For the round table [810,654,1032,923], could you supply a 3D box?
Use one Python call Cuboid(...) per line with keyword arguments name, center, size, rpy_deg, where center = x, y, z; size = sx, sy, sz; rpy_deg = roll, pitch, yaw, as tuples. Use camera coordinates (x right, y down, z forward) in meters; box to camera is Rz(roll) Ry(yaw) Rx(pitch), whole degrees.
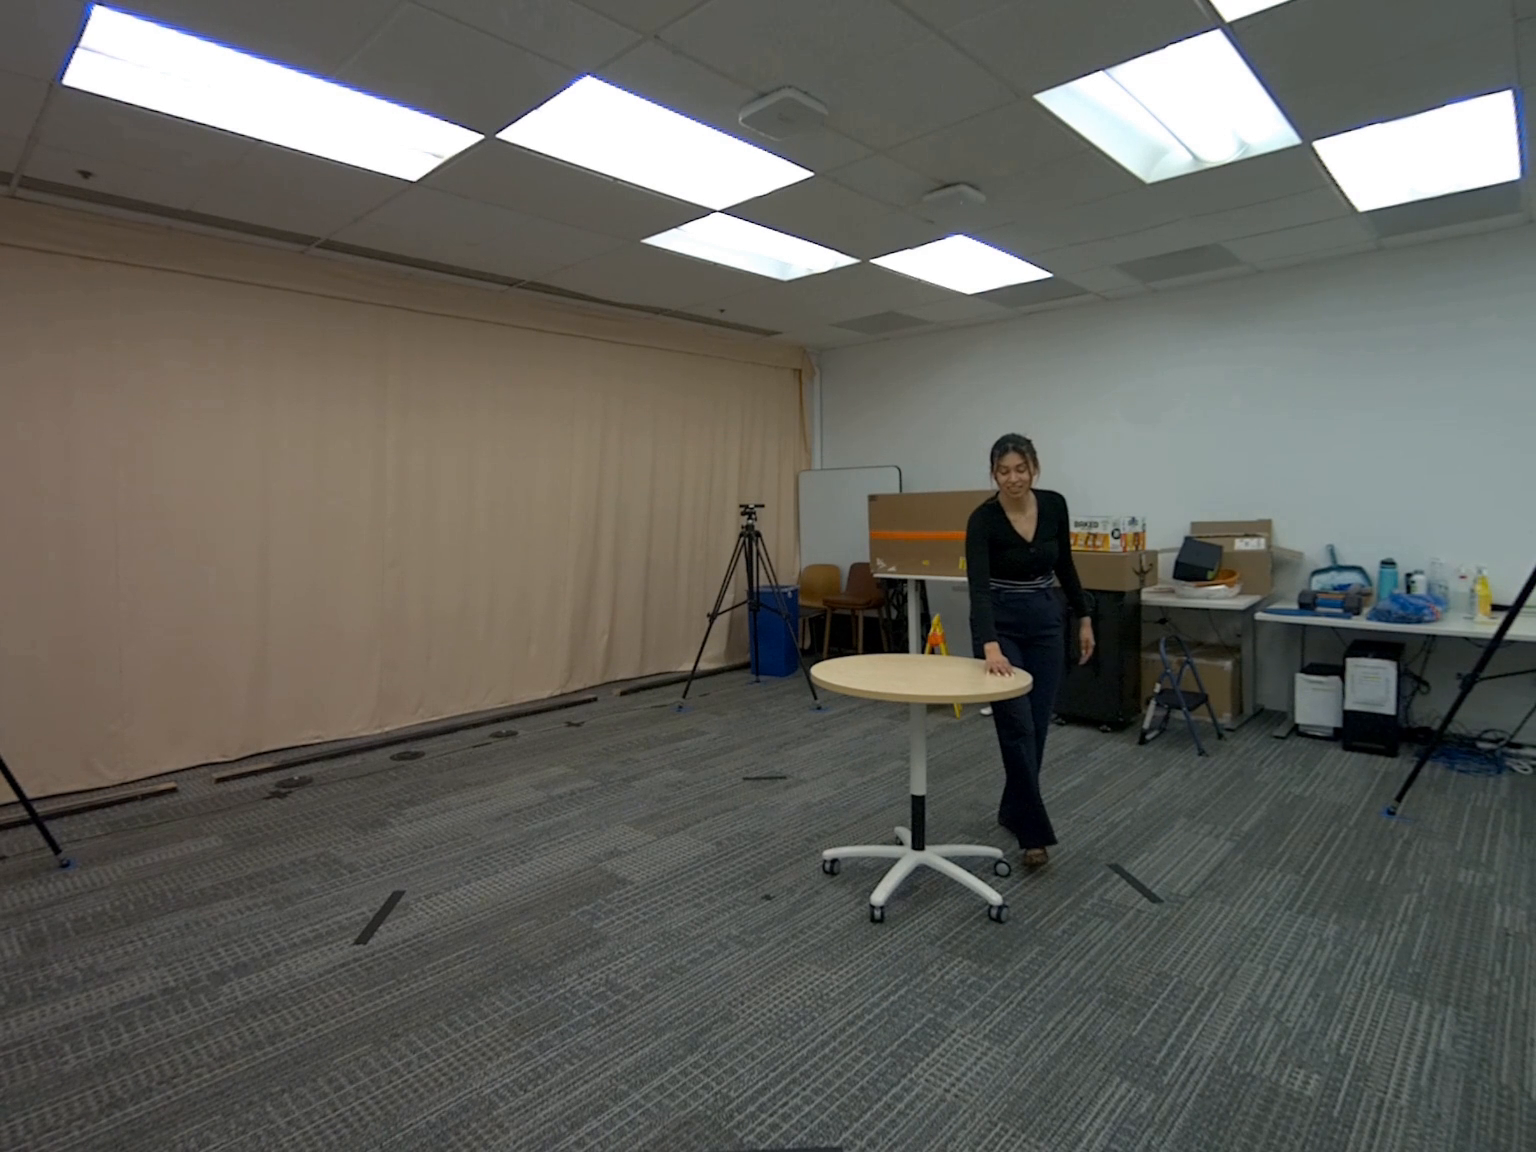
Cuboid(name="round table", center=(0.542, 0.738, 3.022), size=(0.763, 0.792, 0.766), rpy_deg=(-1, 4, -2))
